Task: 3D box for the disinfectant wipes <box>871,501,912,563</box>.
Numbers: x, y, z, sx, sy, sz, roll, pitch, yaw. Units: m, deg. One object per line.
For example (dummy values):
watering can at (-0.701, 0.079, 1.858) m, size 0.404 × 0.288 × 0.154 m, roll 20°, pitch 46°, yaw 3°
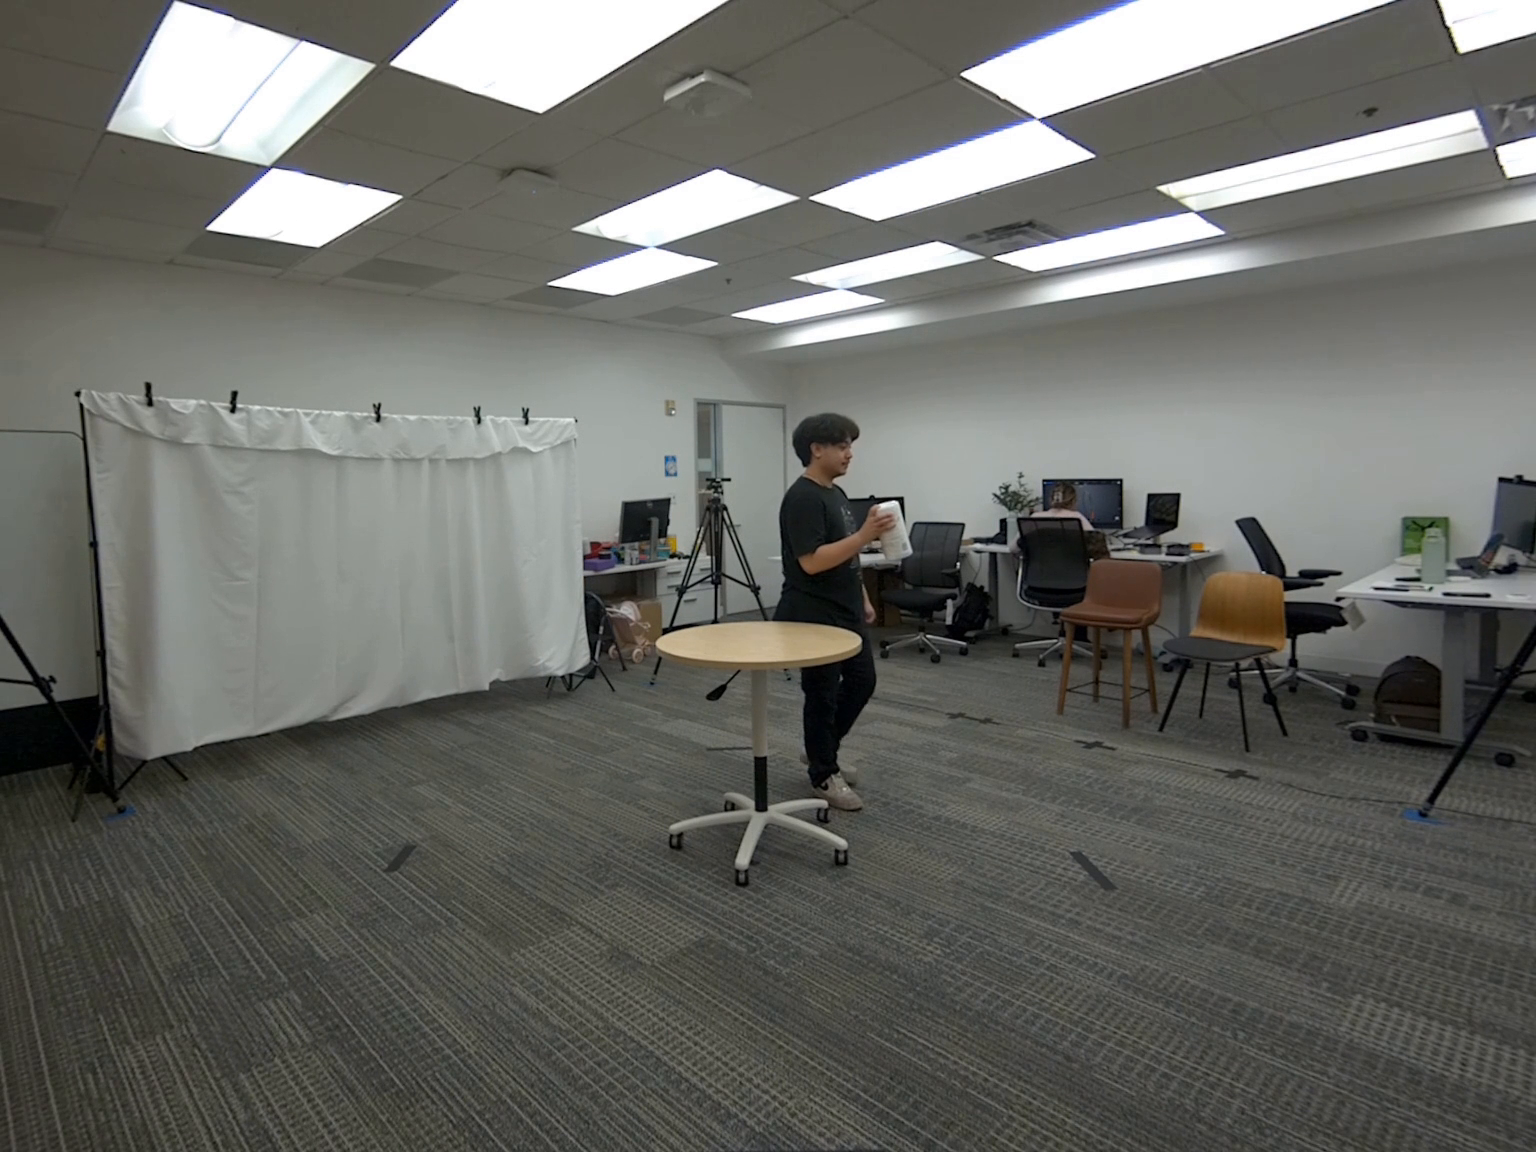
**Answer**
disinfectant wipes at (0.476, -0.174, 3.347) m, size 0.118 × 0.215 × 0.119 m, roll -16°, pitch 11°, yaw 2°
